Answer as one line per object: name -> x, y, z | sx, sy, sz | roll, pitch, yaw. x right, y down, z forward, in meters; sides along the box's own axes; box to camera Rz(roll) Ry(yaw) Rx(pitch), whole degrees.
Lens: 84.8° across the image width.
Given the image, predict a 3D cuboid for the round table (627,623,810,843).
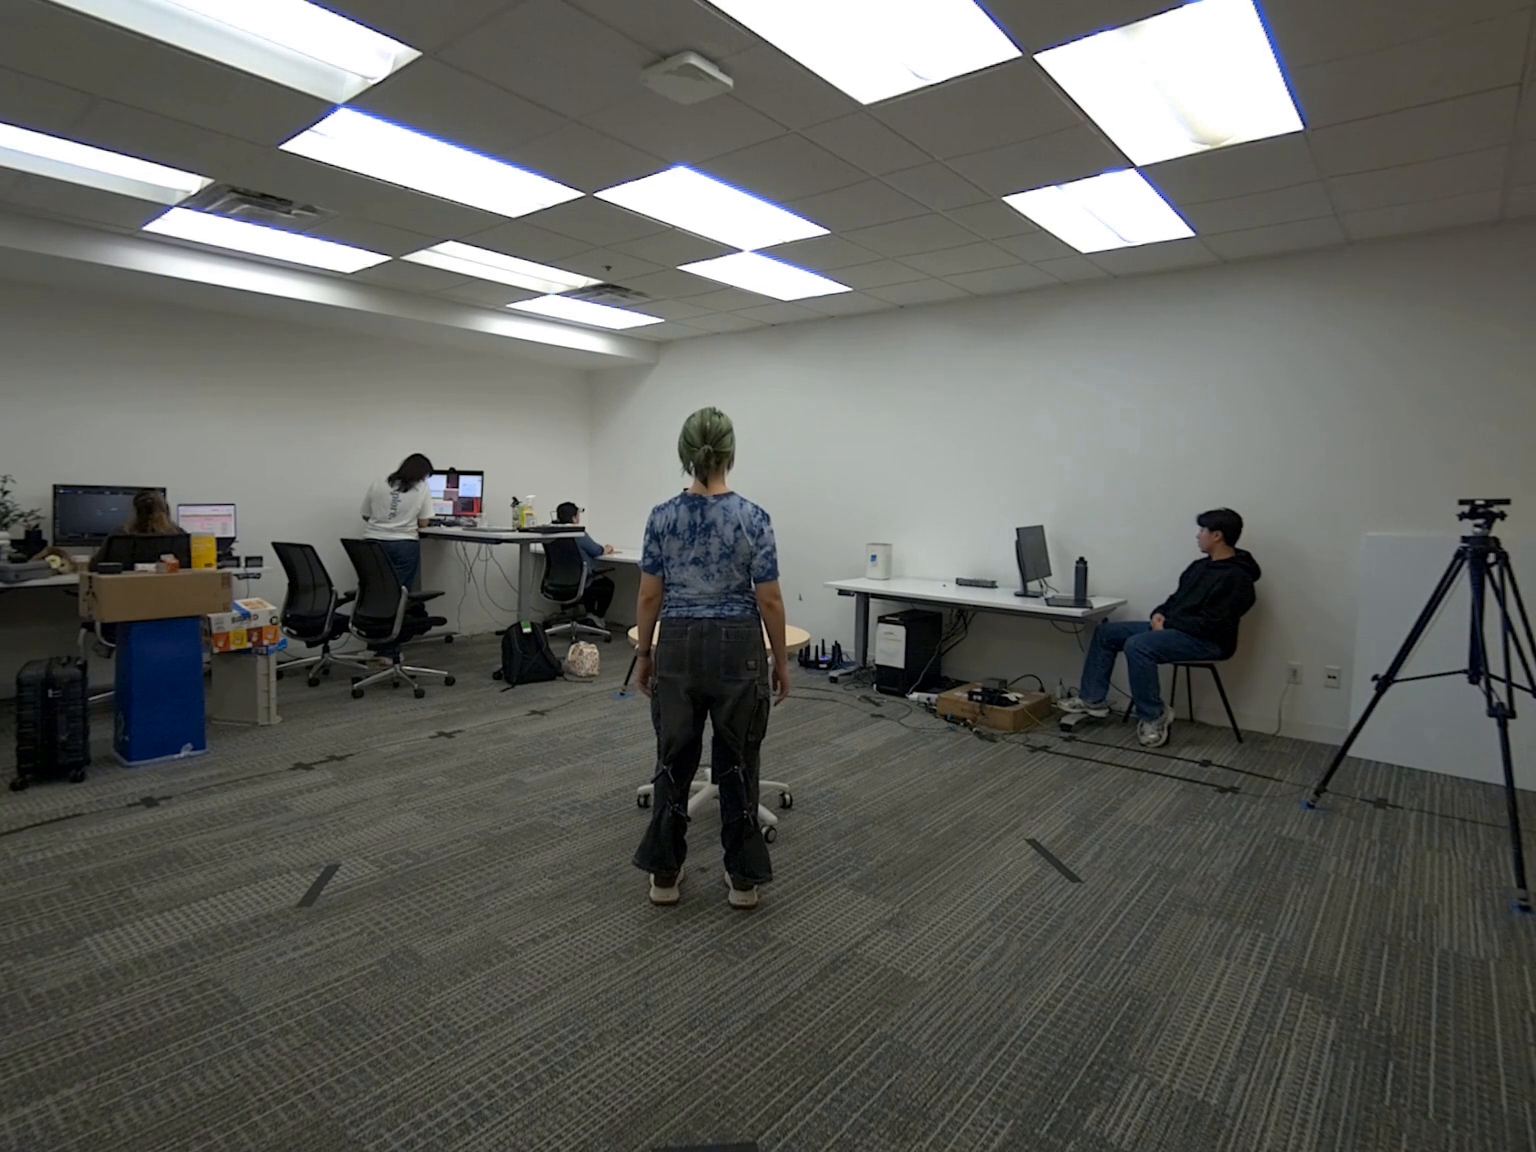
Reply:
round table -> -0.224, 0.629, 3.609 | 0.763, 0.791, 0.768 | 1, 4, -2
